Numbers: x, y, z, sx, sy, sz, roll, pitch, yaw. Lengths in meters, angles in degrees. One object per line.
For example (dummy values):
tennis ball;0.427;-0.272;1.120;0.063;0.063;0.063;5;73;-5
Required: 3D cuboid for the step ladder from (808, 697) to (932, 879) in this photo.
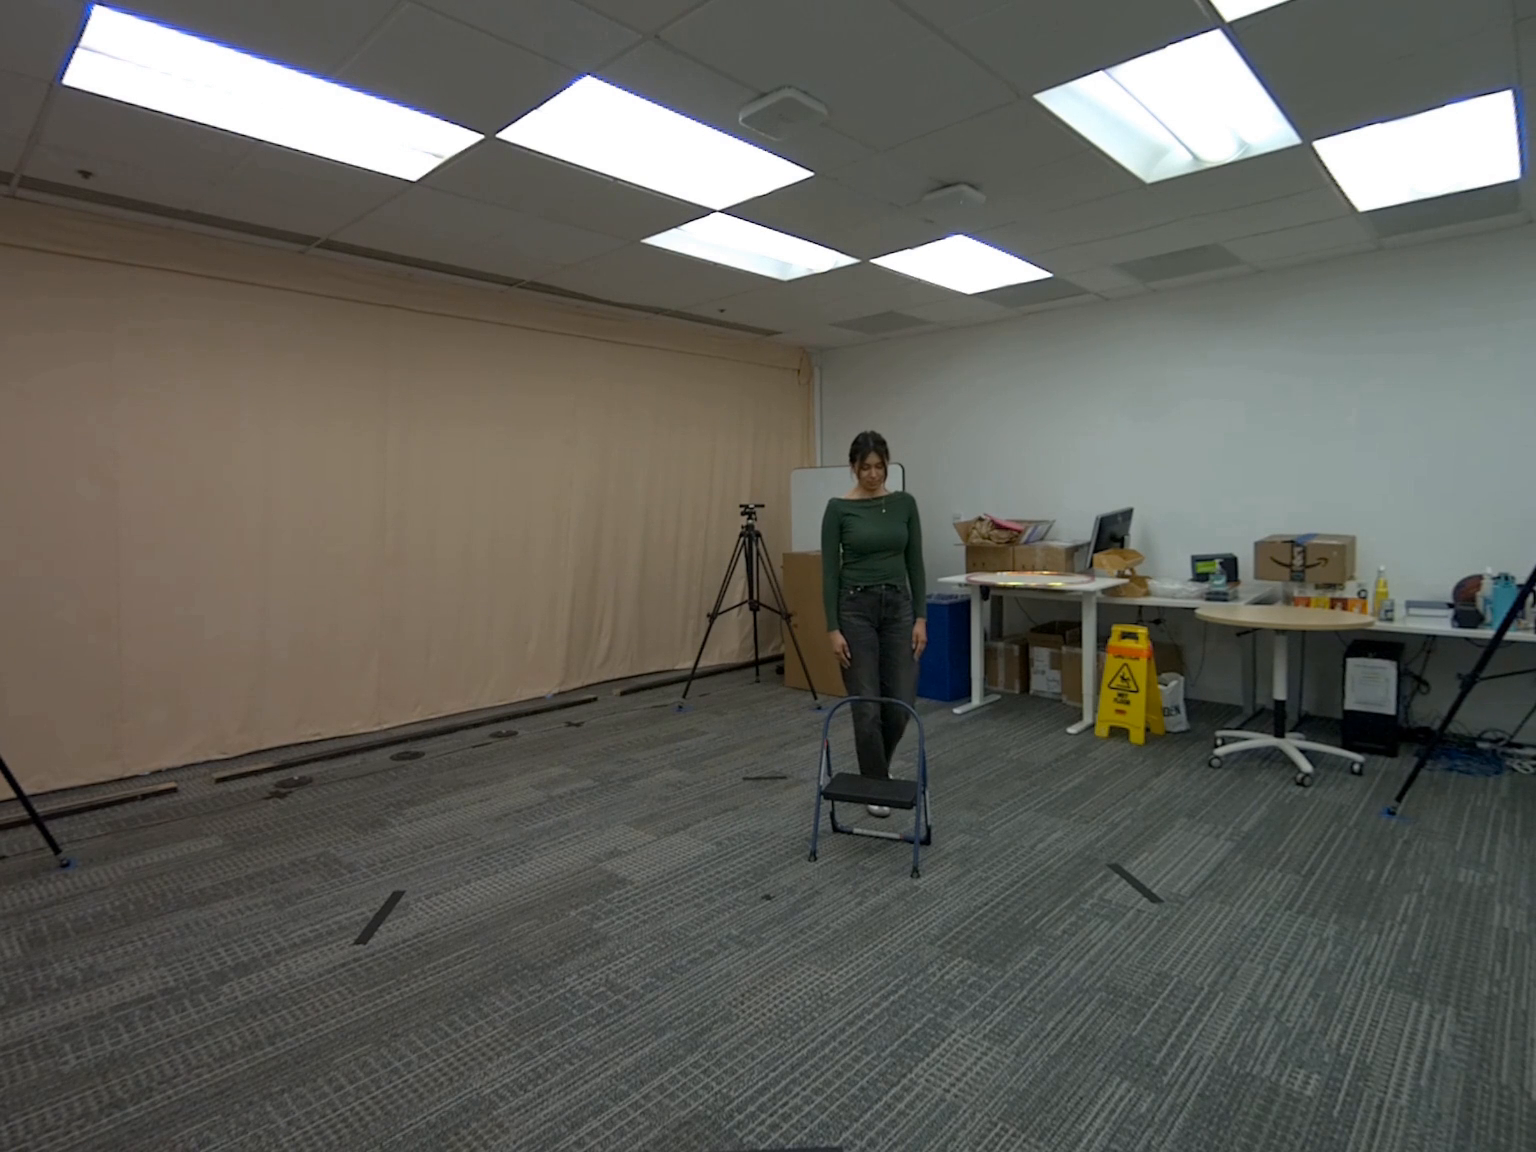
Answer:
step ladder;0.413;0.797;3.340;0.440;0.605;0.342;1;3;22
